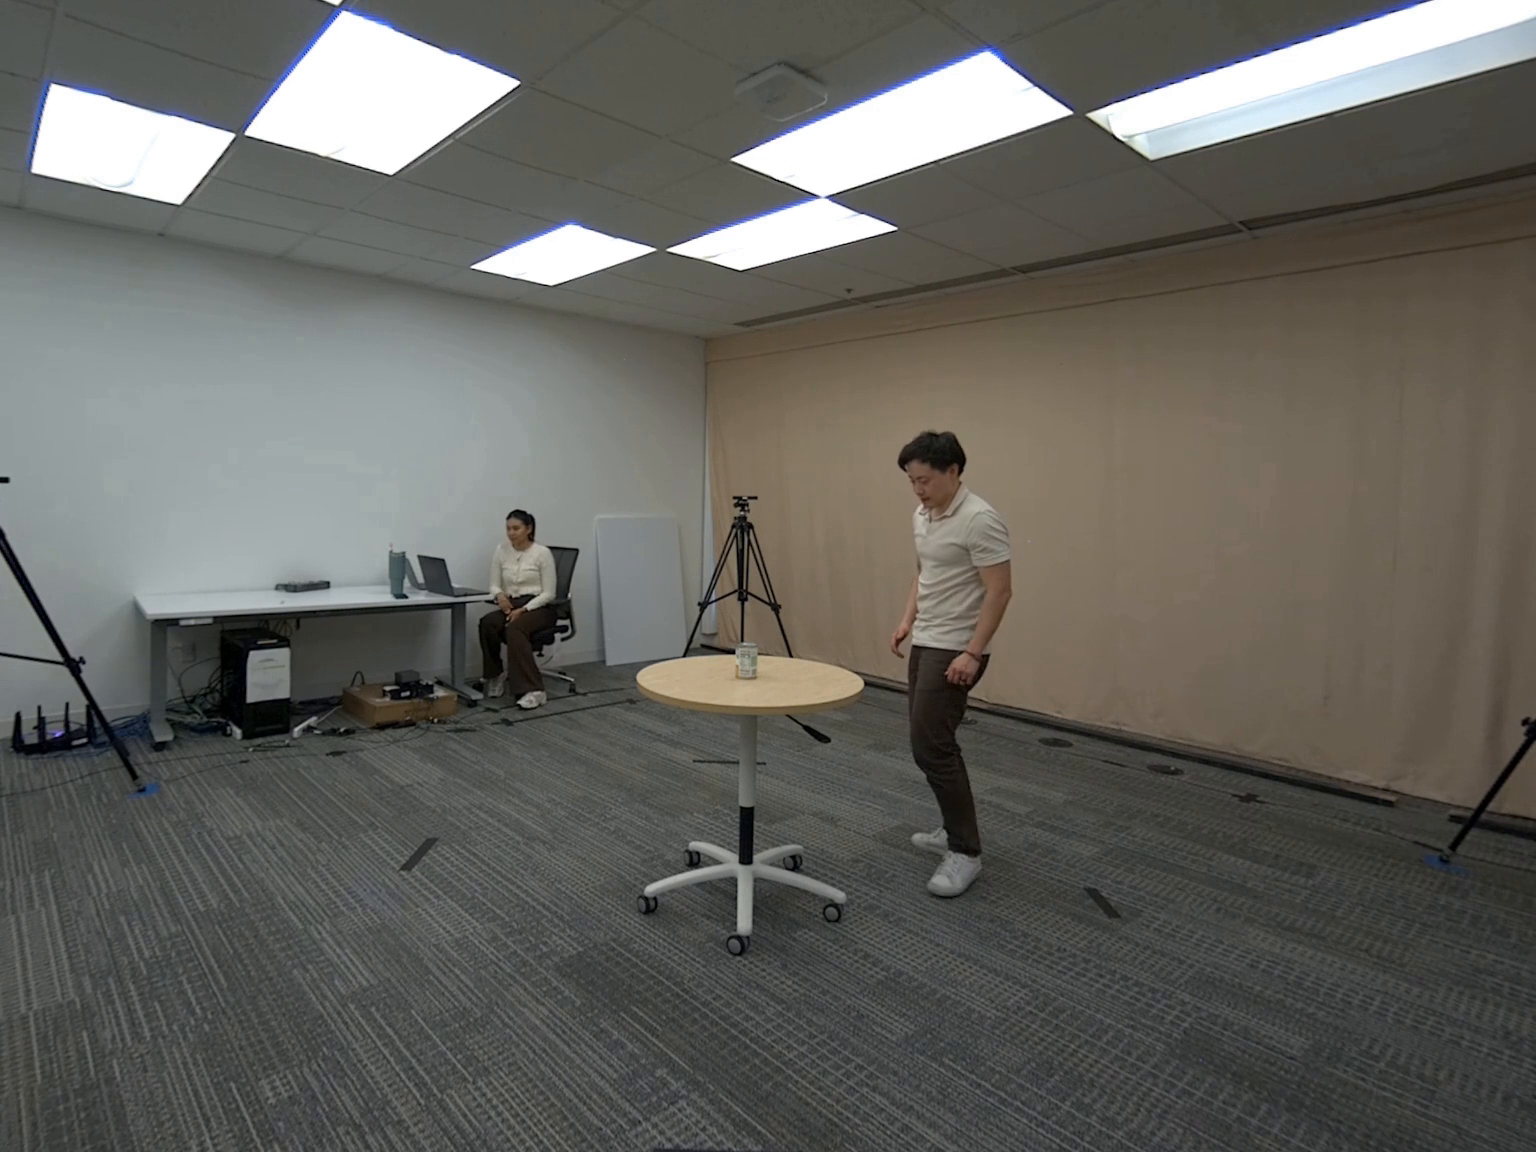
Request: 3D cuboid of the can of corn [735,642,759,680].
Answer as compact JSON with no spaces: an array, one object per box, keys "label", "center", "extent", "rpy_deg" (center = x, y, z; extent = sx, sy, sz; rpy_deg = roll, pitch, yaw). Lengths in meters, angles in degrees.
[{"label":"can of corn","center":[-0.081,0.290,2.839],"extent":[0.074,0.111,0.074],"rpy_deg":[1,4,-1]}]
